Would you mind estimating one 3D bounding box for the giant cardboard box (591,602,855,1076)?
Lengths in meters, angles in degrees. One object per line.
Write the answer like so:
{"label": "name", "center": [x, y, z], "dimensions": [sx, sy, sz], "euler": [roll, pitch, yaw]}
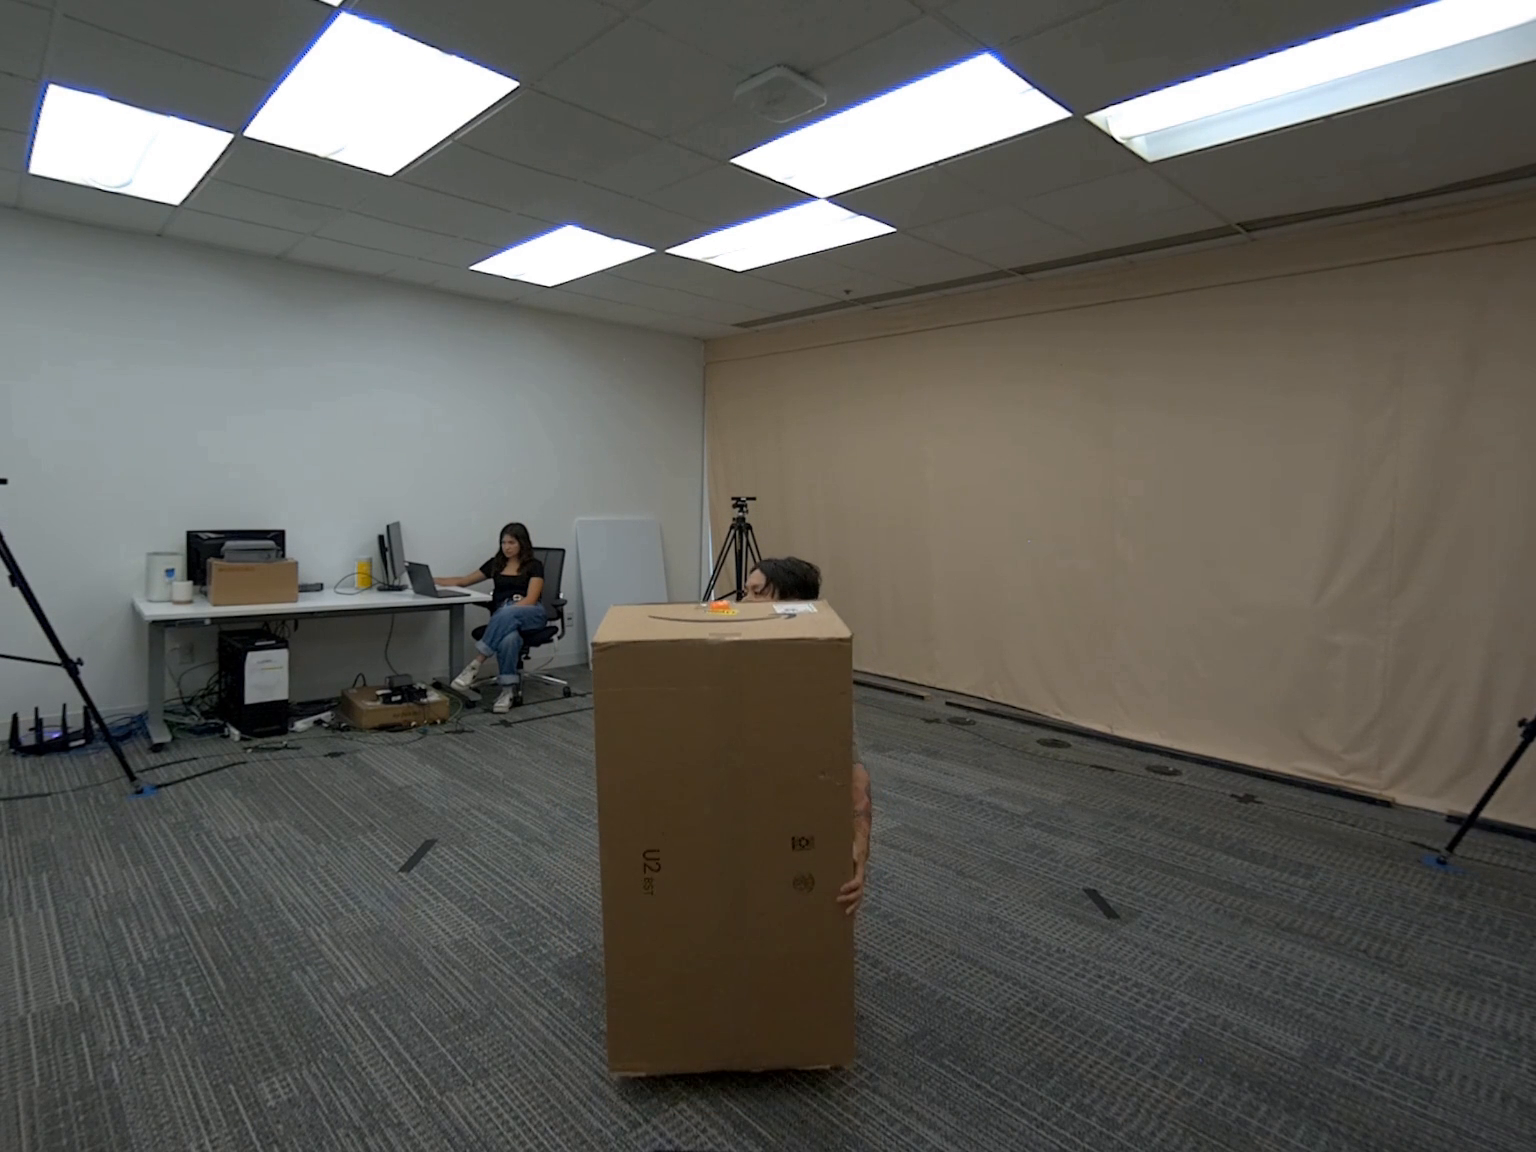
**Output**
{"label": "giant cardboard box", "center": [-0.113, 0.603, 2.082], "dimensions": [0.576, 1.020, 0.429], "euler": [-1, 7, -3]}
